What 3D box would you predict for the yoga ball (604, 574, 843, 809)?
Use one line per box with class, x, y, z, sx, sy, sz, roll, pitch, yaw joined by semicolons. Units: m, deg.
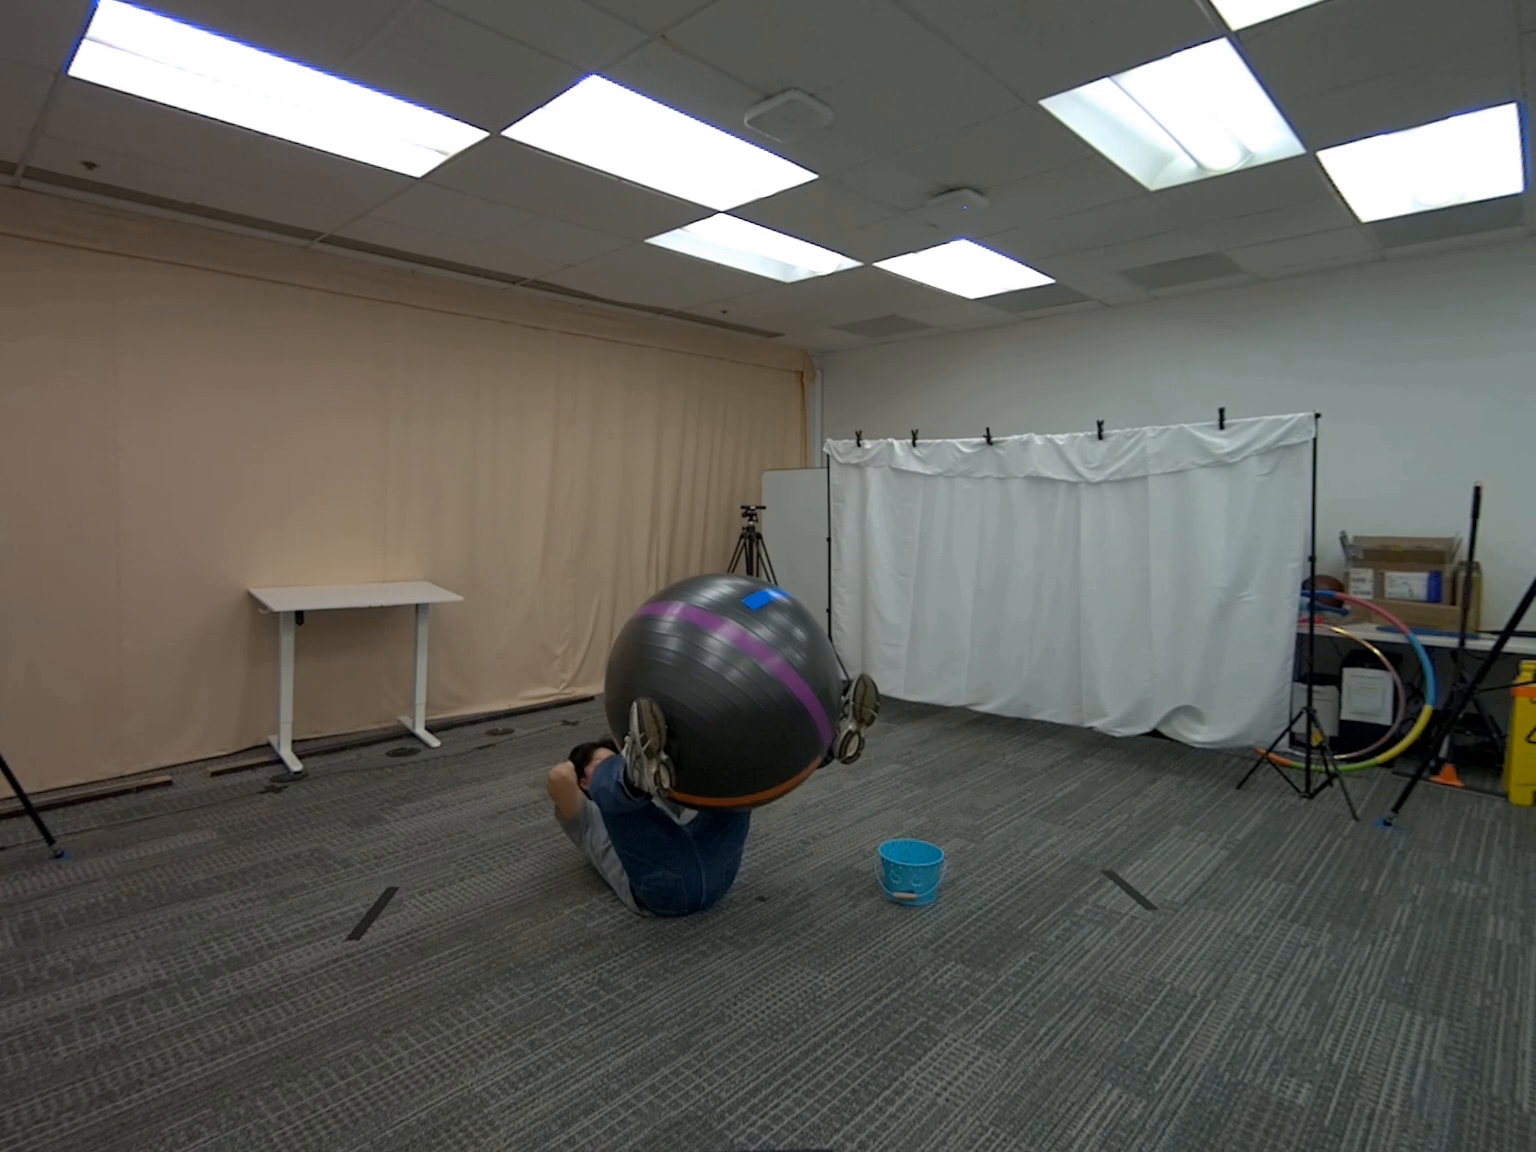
yoga ball;-0.153;0.370;2.716;0.757;0.756;0.761;0;4;-2
